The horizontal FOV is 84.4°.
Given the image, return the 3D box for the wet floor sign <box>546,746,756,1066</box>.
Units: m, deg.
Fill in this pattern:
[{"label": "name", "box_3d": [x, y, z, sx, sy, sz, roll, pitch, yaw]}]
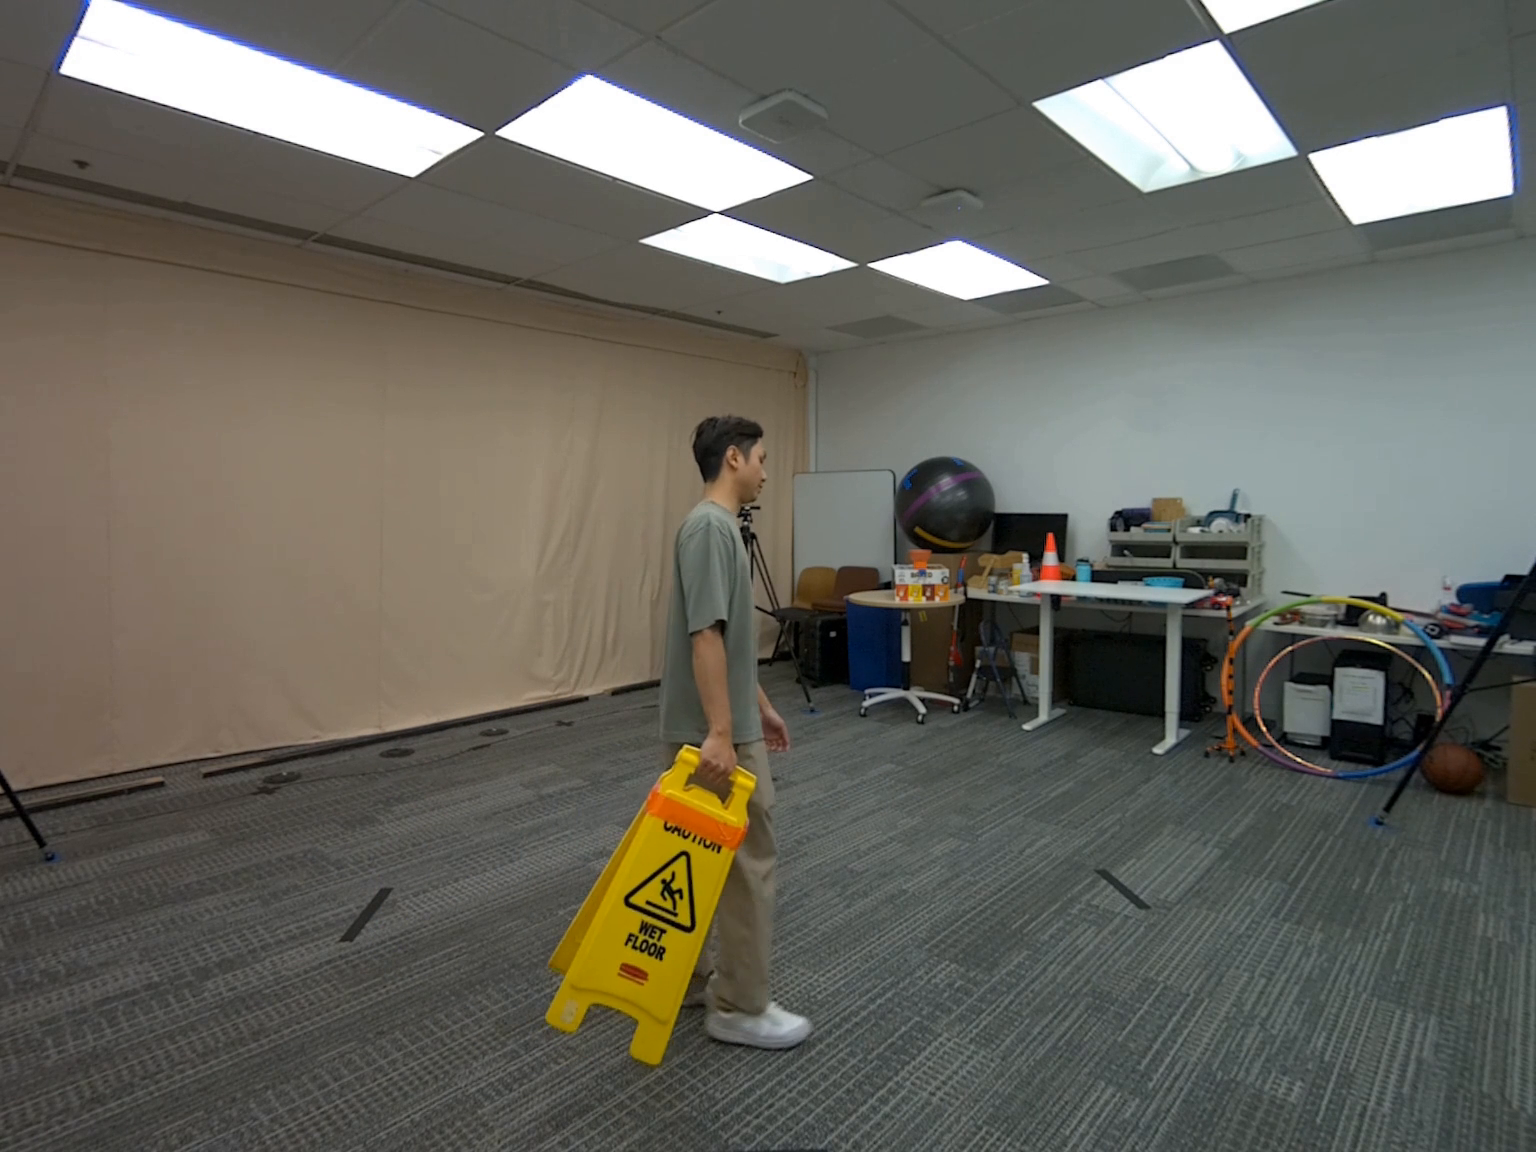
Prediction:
[{"label": "wet floor sign", "box_3d": [-0.241, 0.736, 1.982, 0.279, 0.646, 0.293, 26, -3, -9]}]
